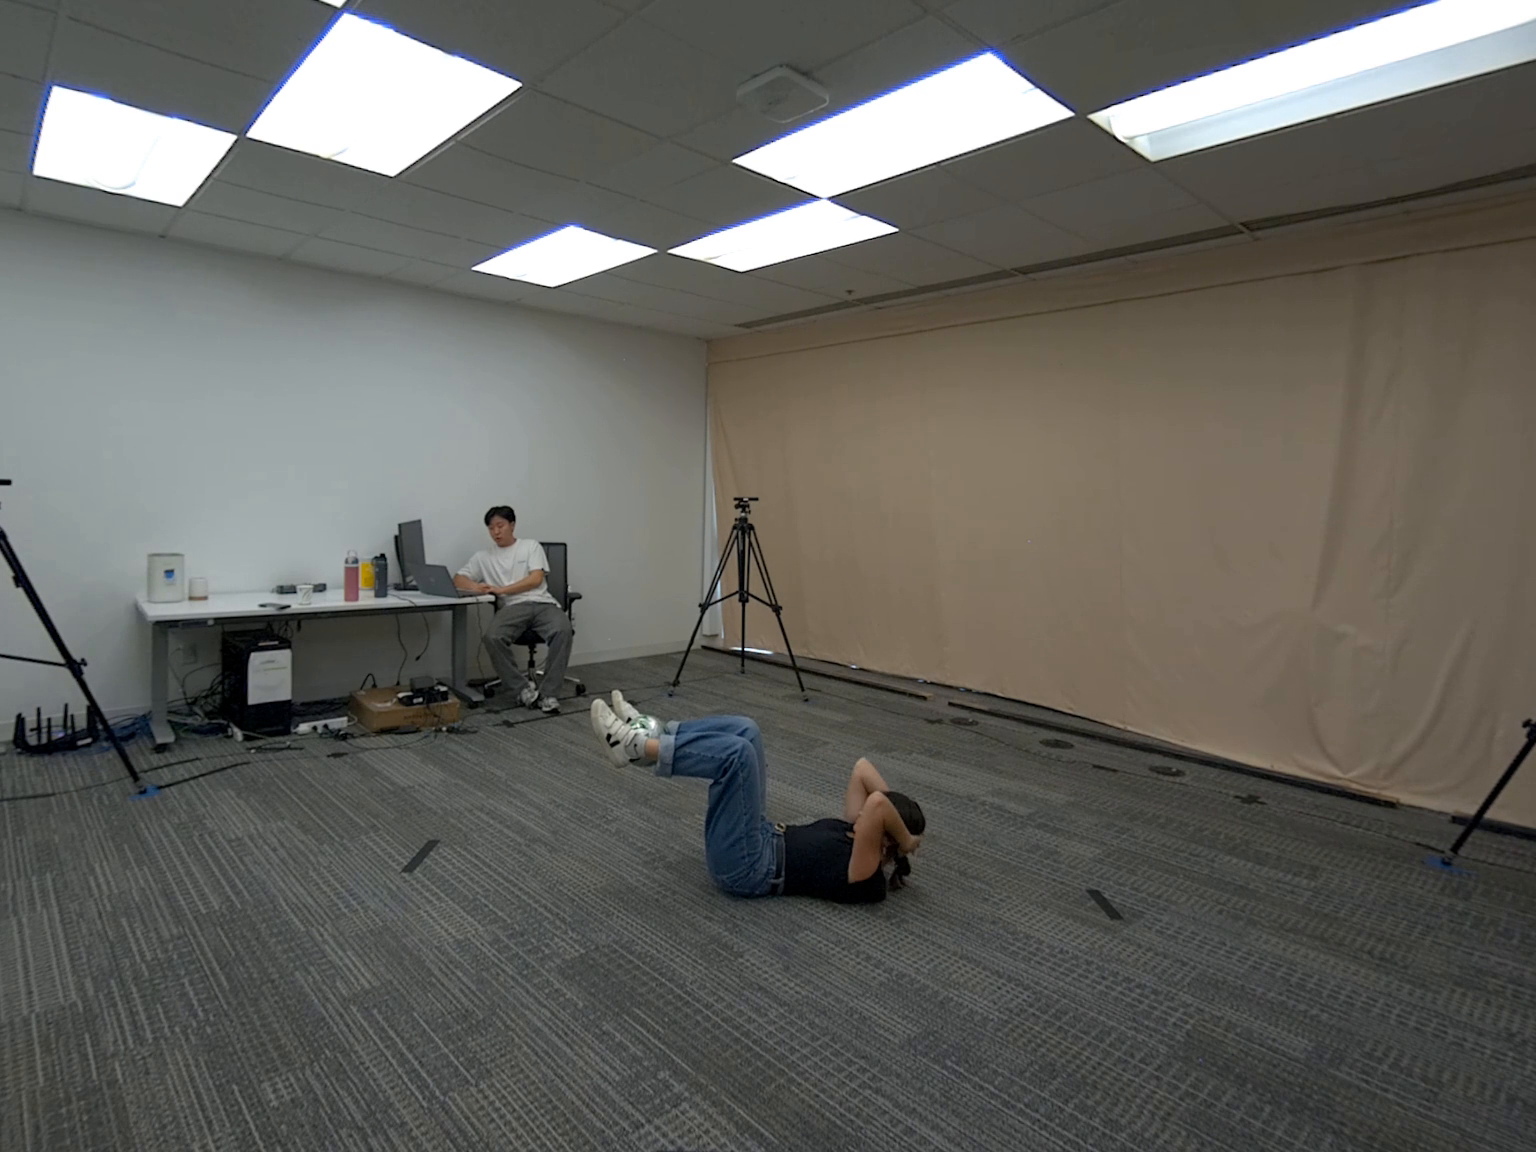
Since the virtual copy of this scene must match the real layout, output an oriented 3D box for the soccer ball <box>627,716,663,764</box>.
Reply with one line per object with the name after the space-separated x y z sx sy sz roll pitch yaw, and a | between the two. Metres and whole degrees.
-0.465 0.612 3.088 0.187 0.186 0.188 1 7 -1 | soccer ball
